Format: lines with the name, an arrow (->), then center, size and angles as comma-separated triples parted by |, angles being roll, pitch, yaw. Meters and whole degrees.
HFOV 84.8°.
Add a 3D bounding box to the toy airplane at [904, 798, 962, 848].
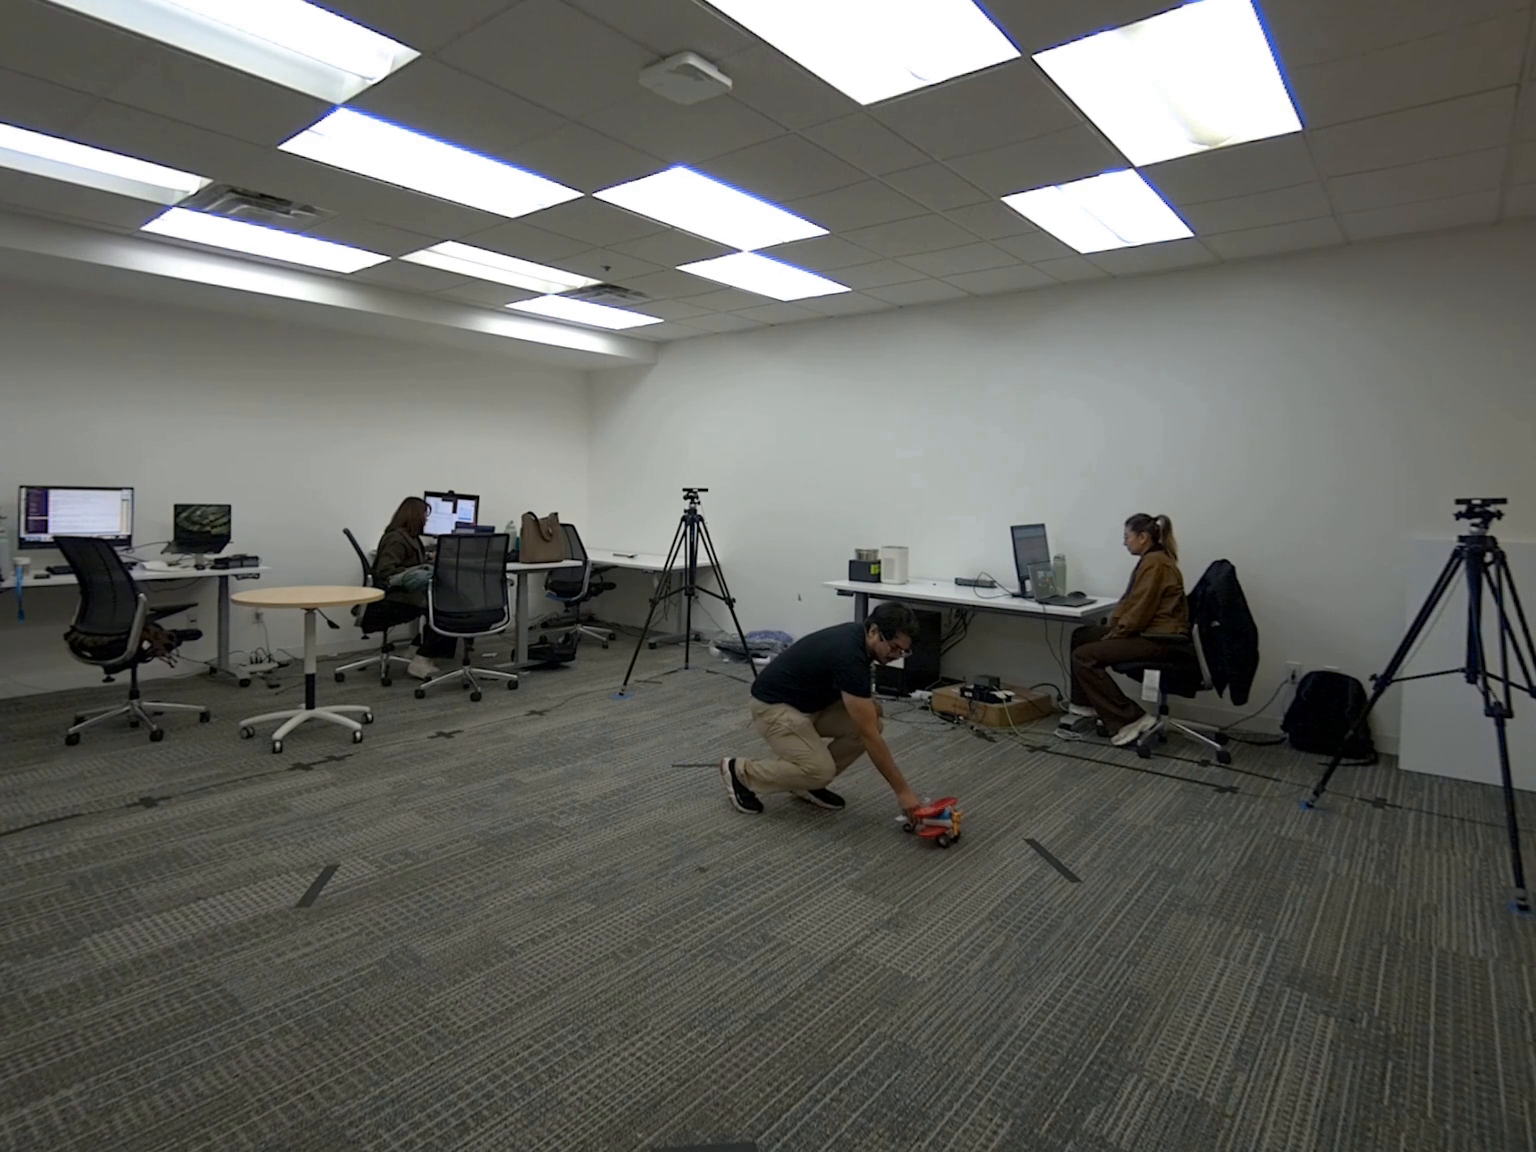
toy airplane -> 0.640, 0.981, 3.431 | 0.264, 0.156, 0.248 | 3, 5, 15
